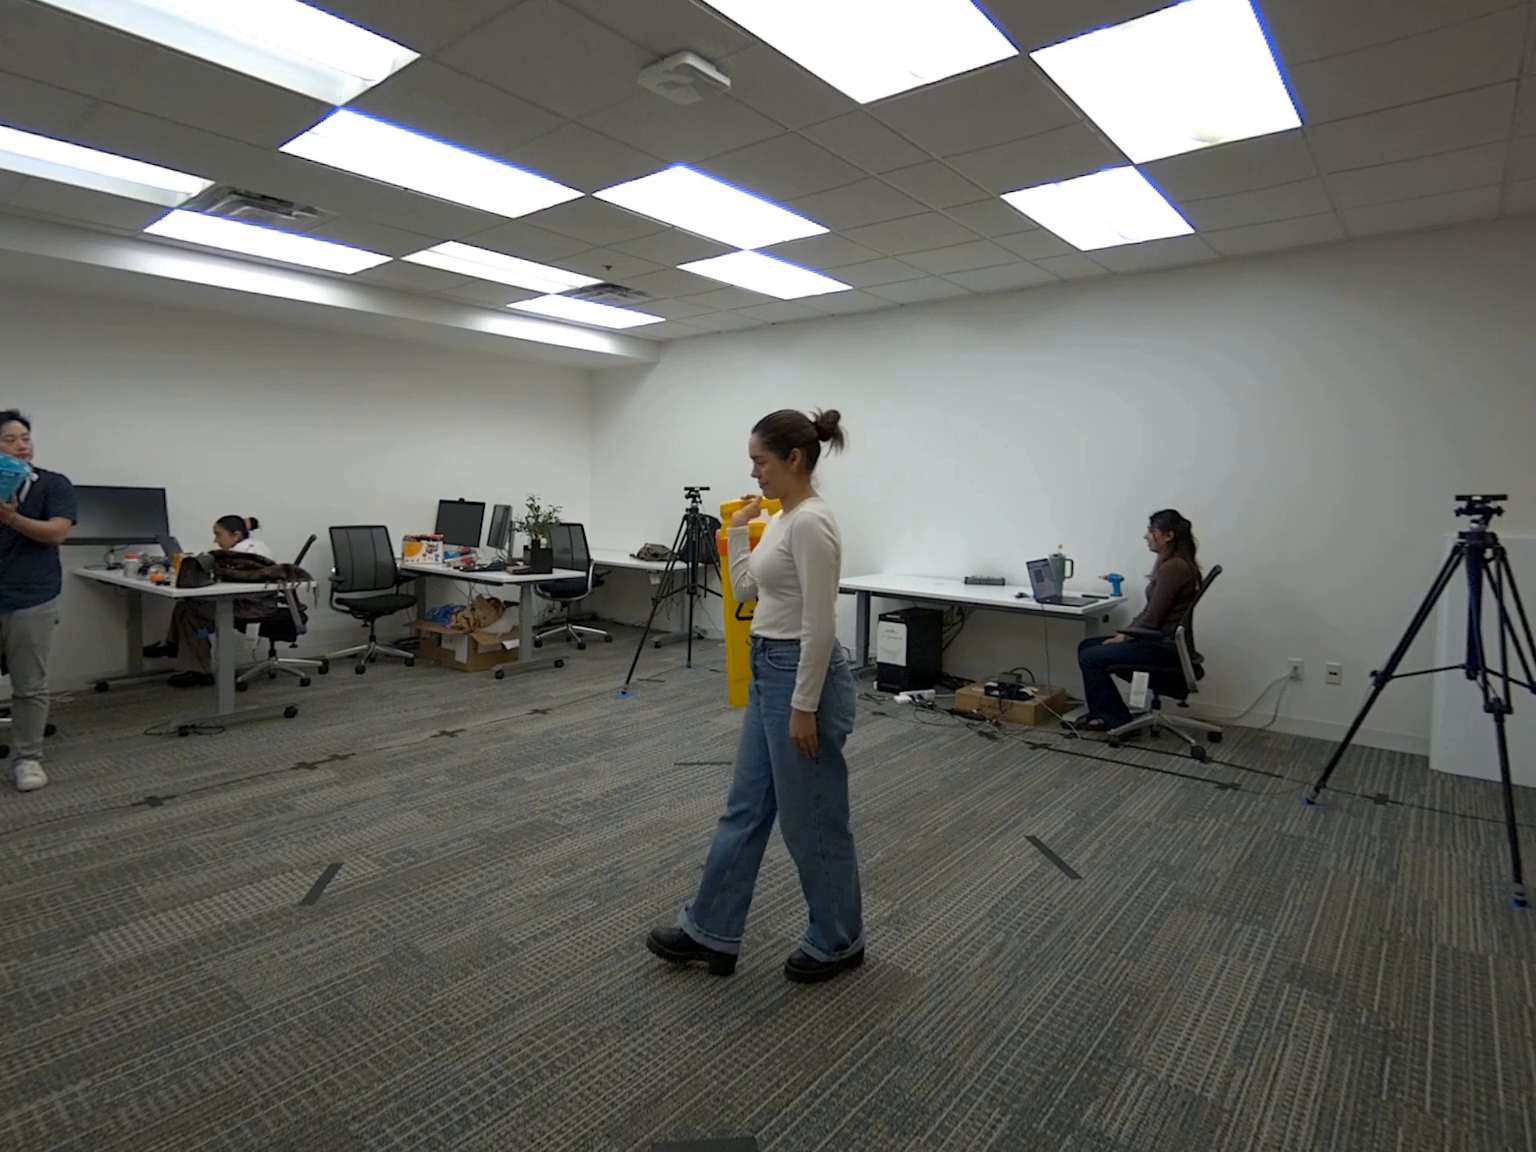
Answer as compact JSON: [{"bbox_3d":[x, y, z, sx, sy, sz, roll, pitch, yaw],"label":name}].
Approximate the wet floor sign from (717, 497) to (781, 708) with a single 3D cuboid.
[{"bbox_3d":[-0.027,0.061,2.742,0.285,0.634,0.292,-5,17,10],"label":"wet floor sign"}]
